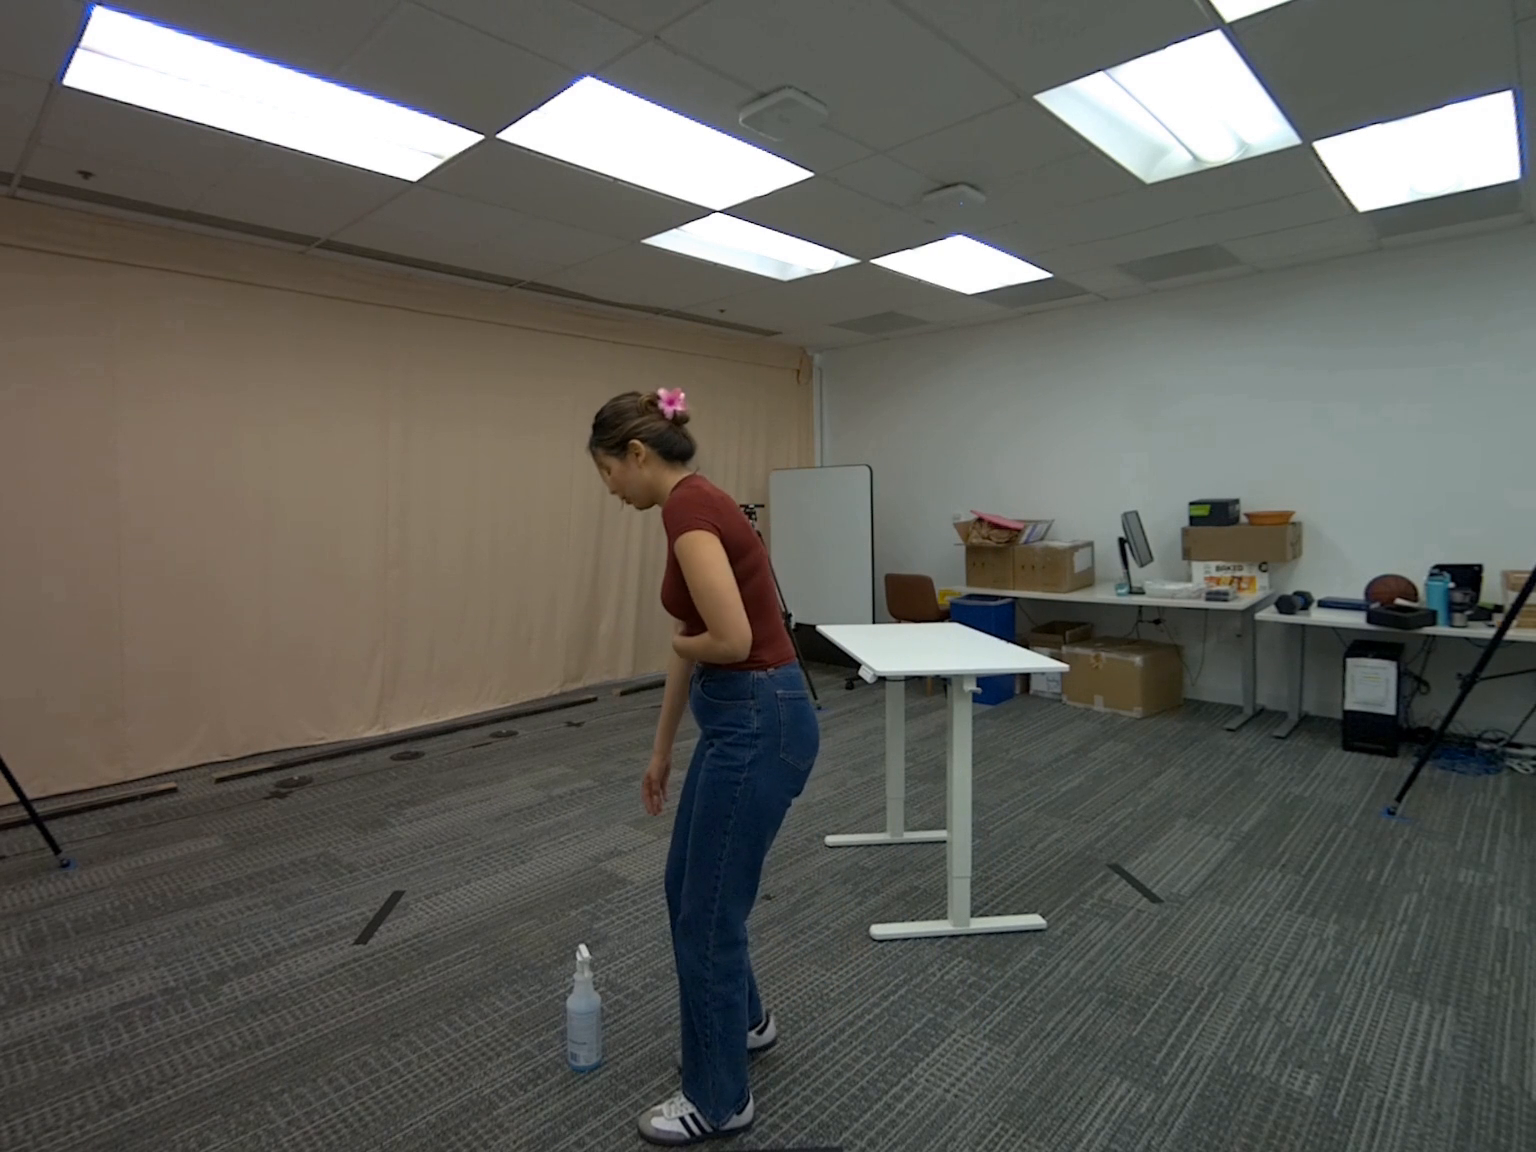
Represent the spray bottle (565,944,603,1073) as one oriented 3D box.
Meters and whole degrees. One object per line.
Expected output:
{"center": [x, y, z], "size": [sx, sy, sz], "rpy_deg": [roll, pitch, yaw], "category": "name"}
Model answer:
{"center": [-0.459, 1.086, 2.107], "size": [0.087, 0.297, 0.090], "rpy_deg": [-1, 2, 2], "category": "spray bottle"}
